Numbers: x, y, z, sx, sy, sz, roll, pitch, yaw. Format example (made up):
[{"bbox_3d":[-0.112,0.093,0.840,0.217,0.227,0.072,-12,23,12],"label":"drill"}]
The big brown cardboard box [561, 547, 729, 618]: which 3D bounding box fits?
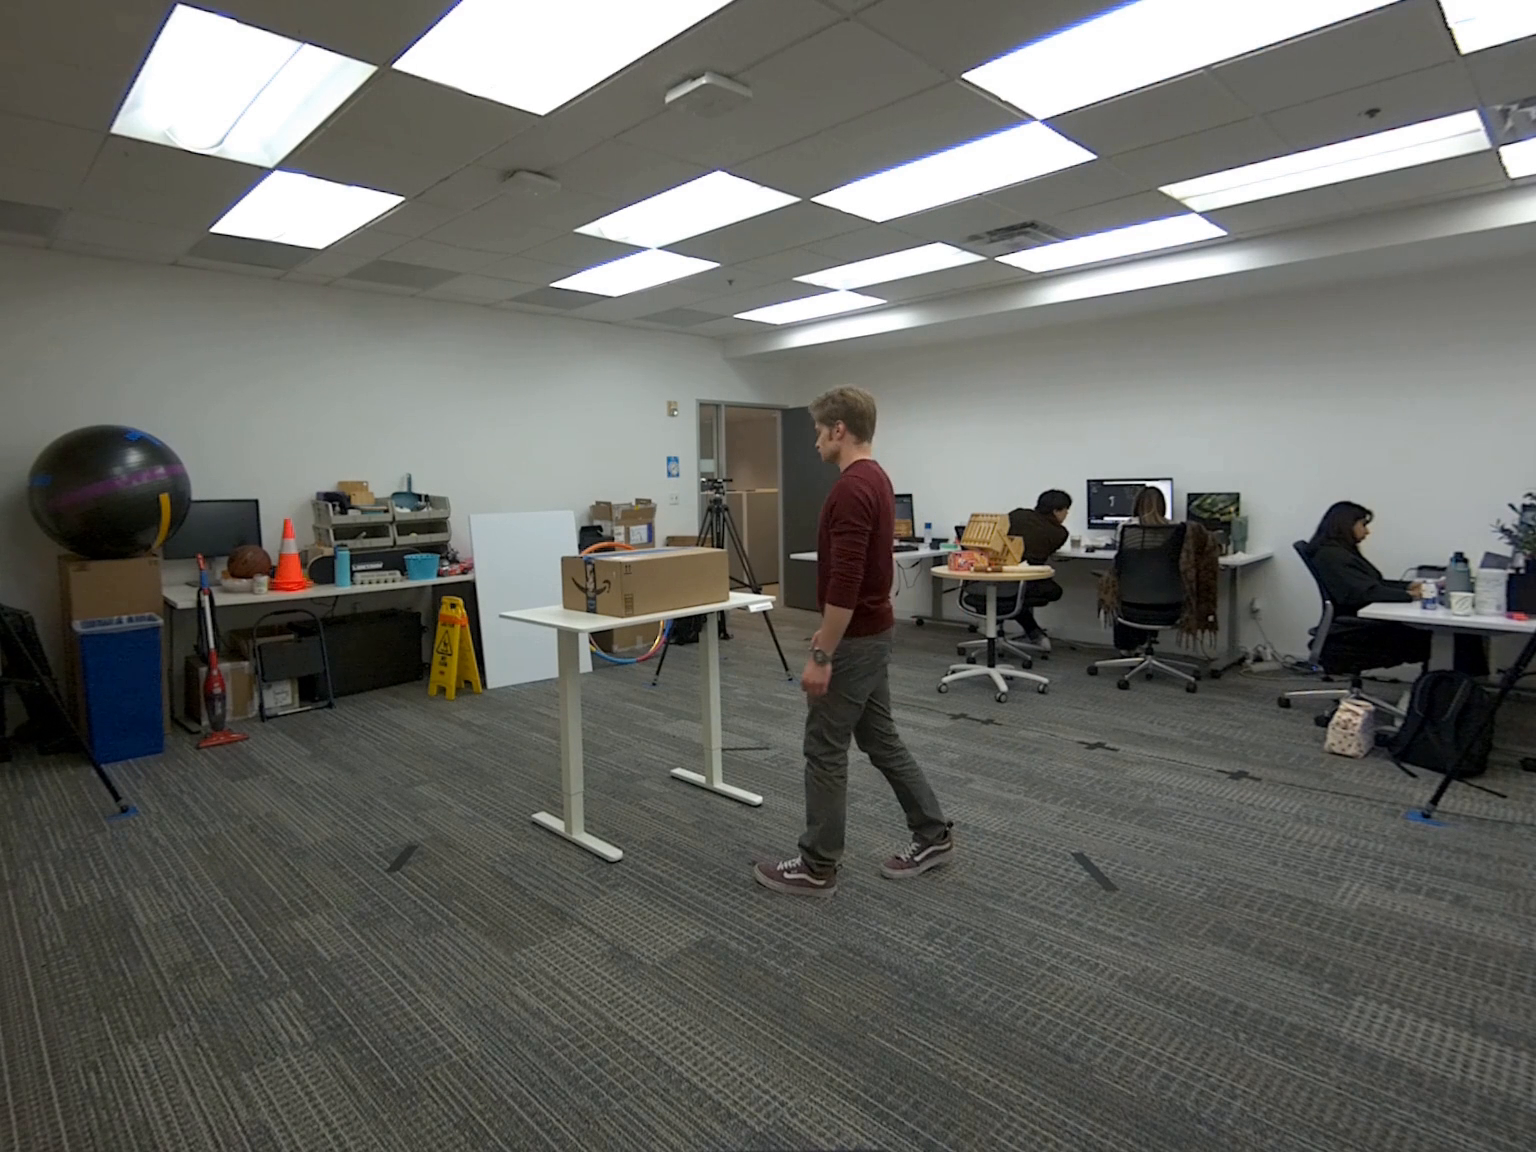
[{"bbox_3d":[-0.507,0.011,3.542,0.430,0.232,0.573,4,7,44],"label":"big brown cardboard box"}]
